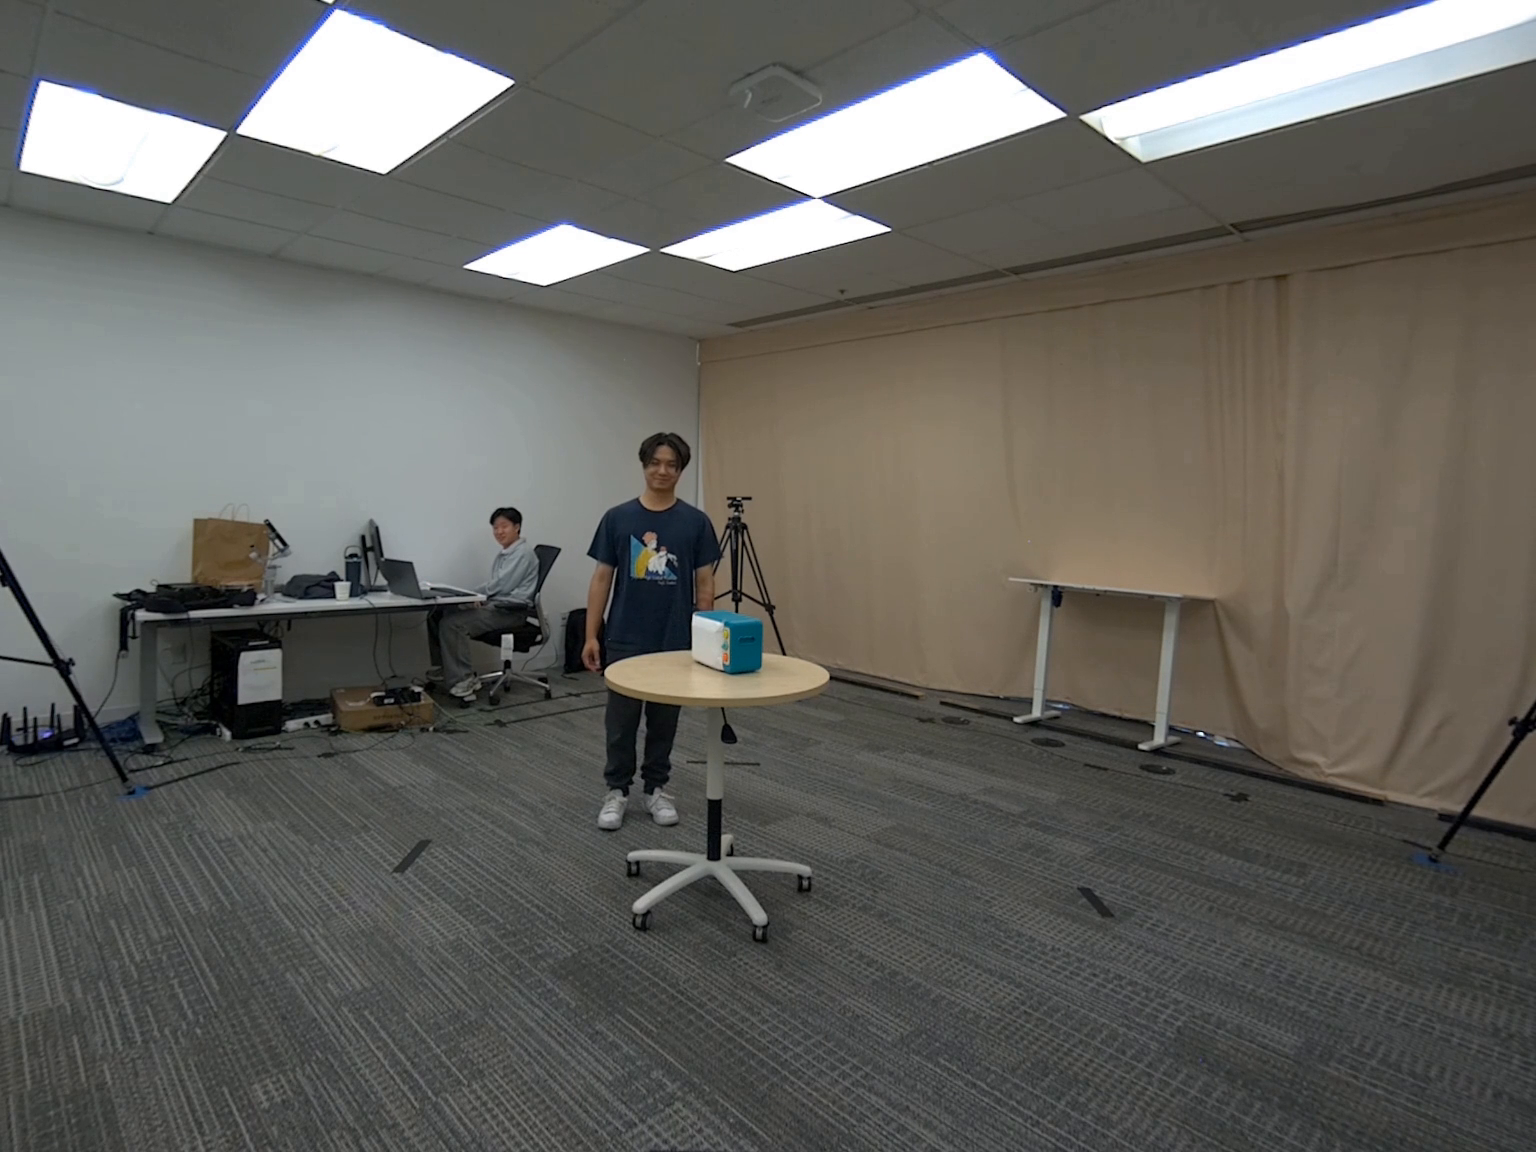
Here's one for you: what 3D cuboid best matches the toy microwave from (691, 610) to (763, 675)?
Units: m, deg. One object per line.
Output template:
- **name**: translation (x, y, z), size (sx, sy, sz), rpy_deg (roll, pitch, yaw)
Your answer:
- **toy microwave**: translation (-0.155, 0.230, 2.947), size (0.149, 0.183, 0.293), rpy_deg (-1, 6, -32)
